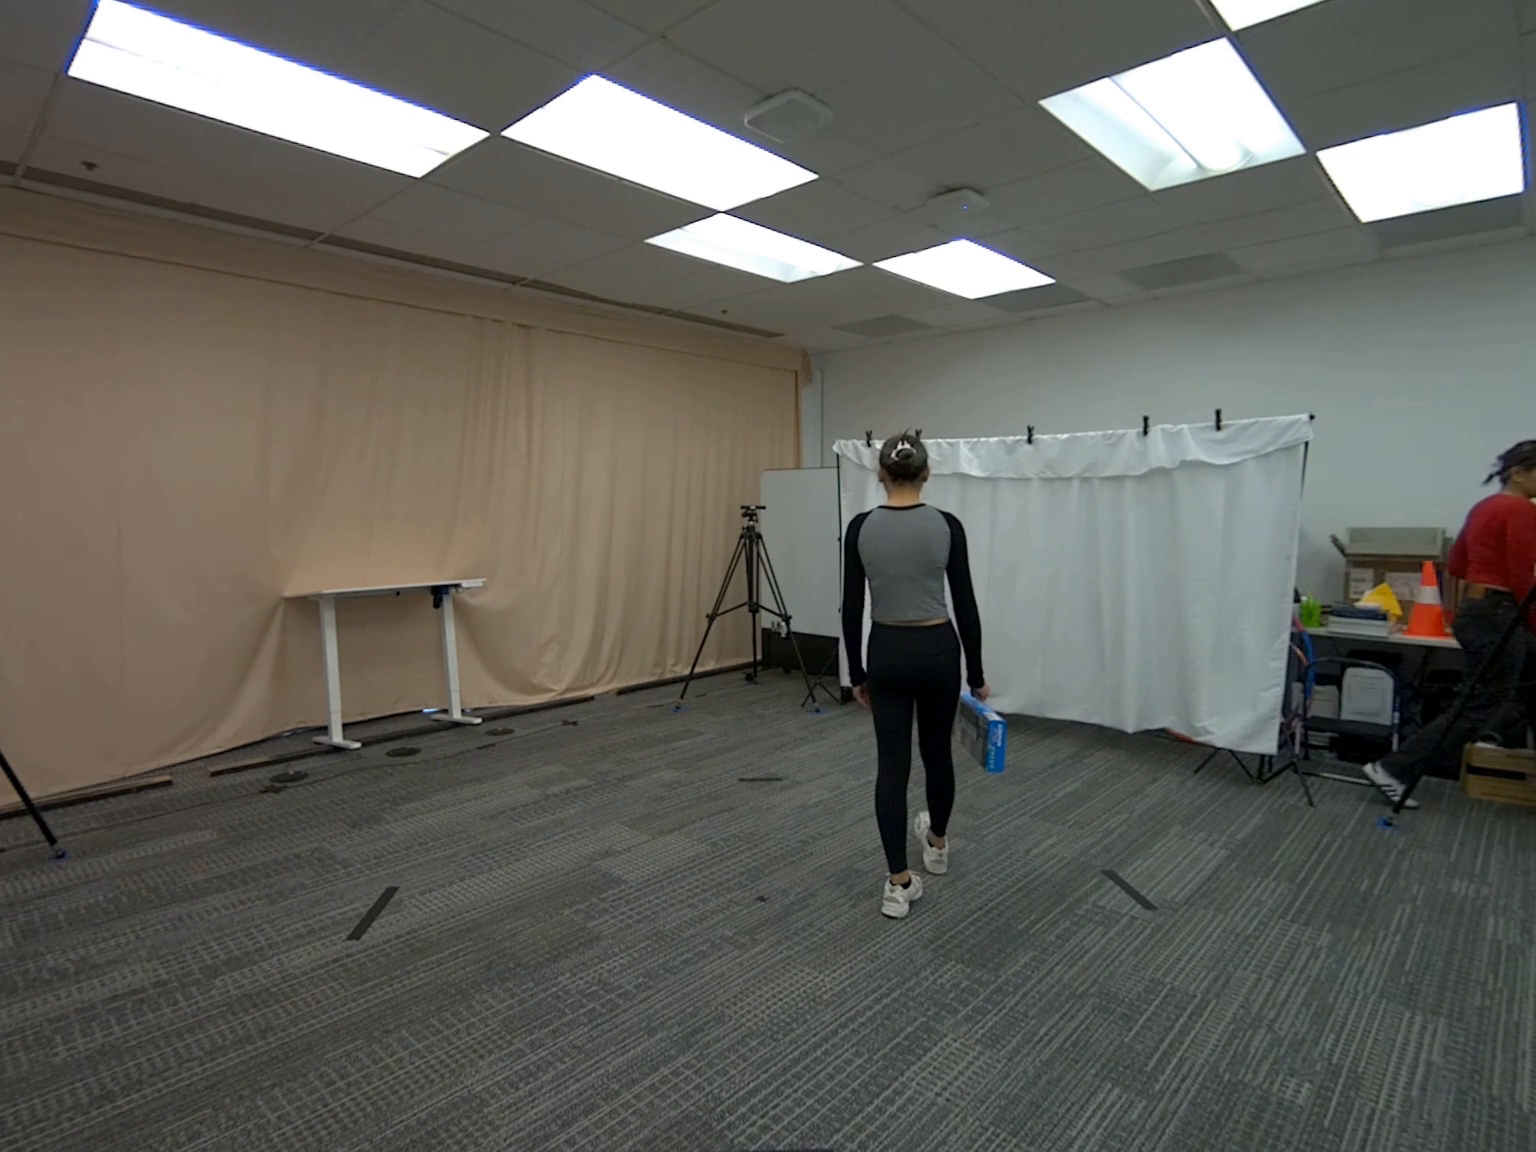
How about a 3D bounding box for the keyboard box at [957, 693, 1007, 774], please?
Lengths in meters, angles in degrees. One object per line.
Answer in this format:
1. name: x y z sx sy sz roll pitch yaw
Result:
1. keyboard box: 0.739 0.538 2.976 0.059 0.175 0.438 2 5 -2
